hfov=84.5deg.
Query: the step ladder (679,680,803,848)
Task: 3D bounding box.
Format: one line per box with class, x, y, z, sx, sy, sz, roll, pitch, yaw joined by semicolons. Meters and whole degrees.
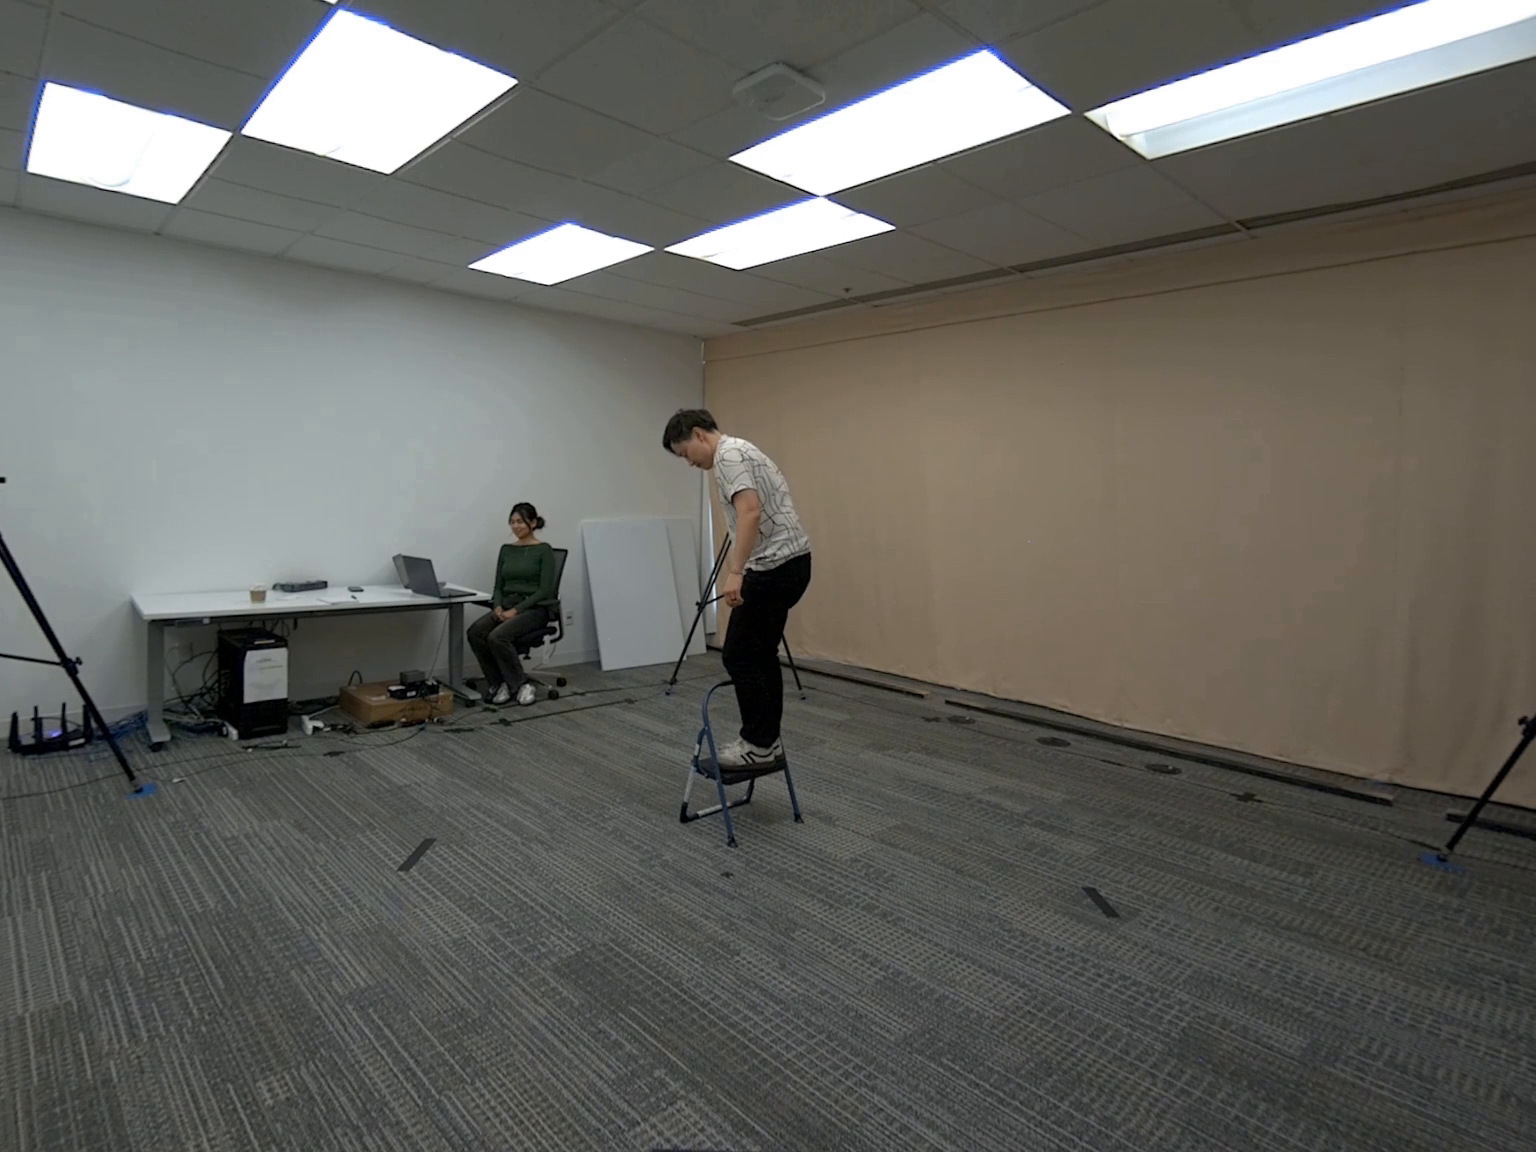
step ladder;-0.117;0.755;3.602;0.358;0.605;0.421;4;4;44
